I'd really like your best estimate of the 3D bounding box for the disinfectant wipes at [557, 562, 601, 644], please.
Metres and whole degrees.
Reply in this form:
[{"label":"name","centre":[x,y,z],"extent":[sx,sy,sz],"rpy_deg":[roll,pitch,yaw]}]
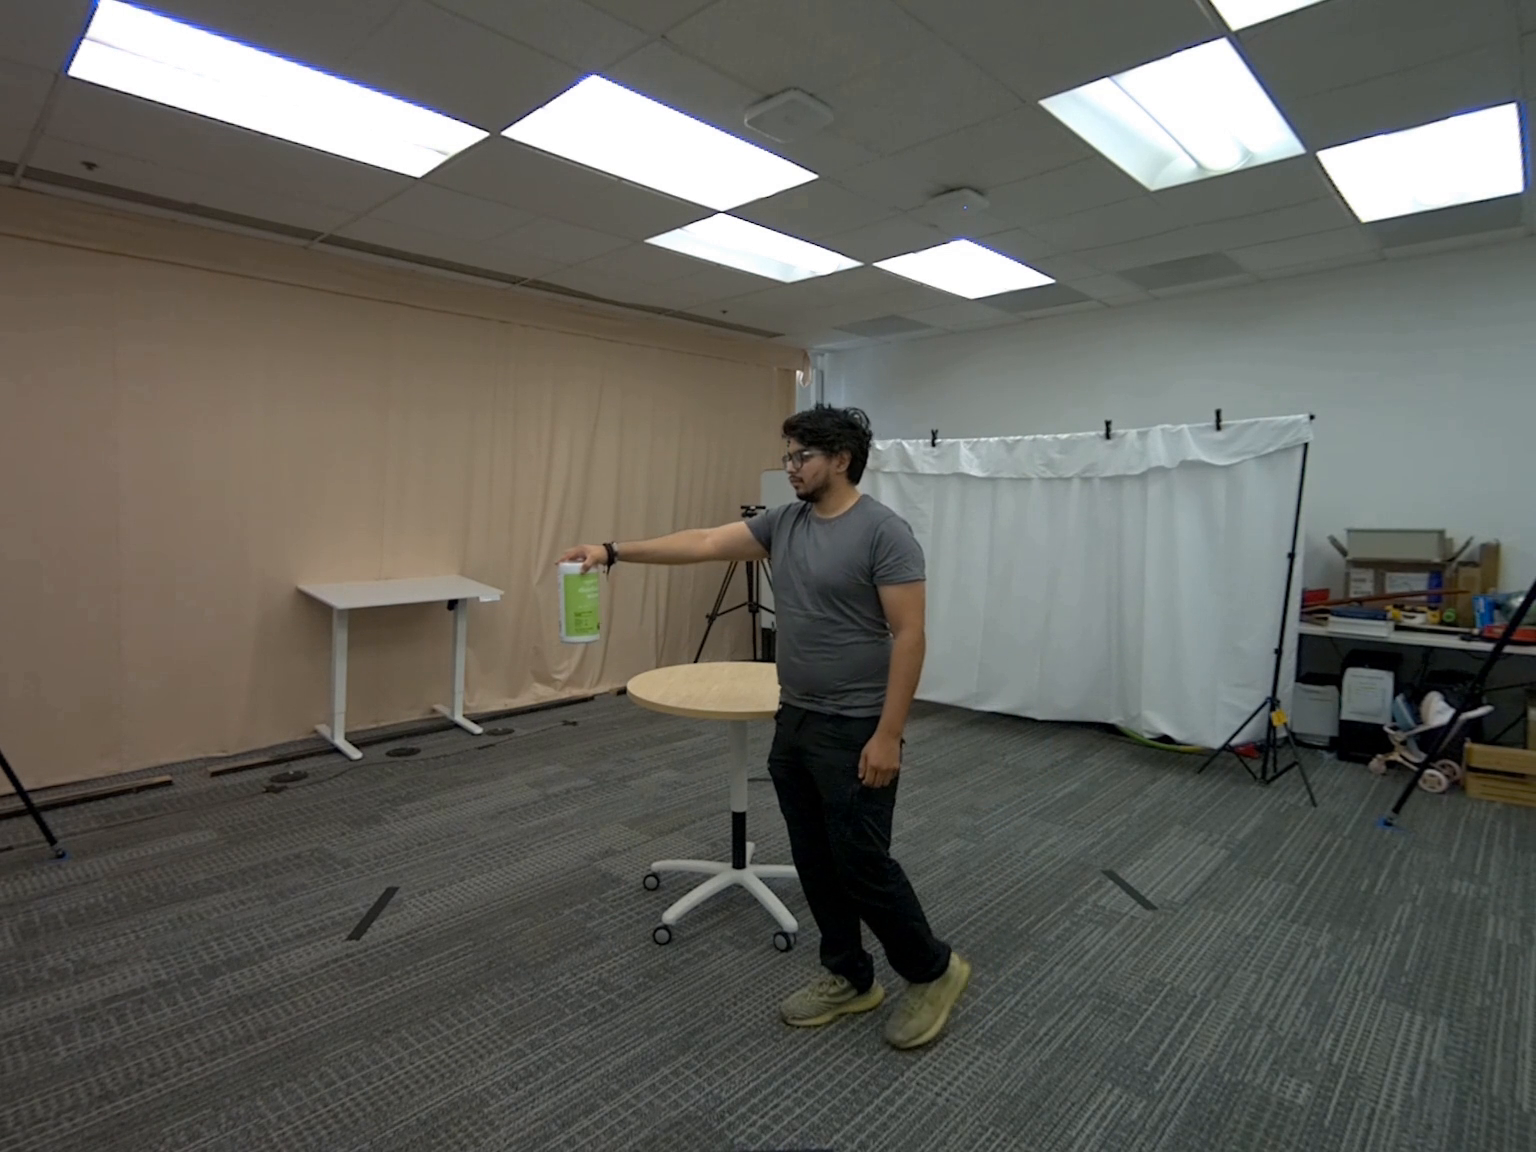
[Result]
[{"label":"disinfectant wipes","centre":[-0.508,0.073,2.268],"extent":[0.118,0.217,0.118],"rpy_deg":[-1,5,-2]}]
